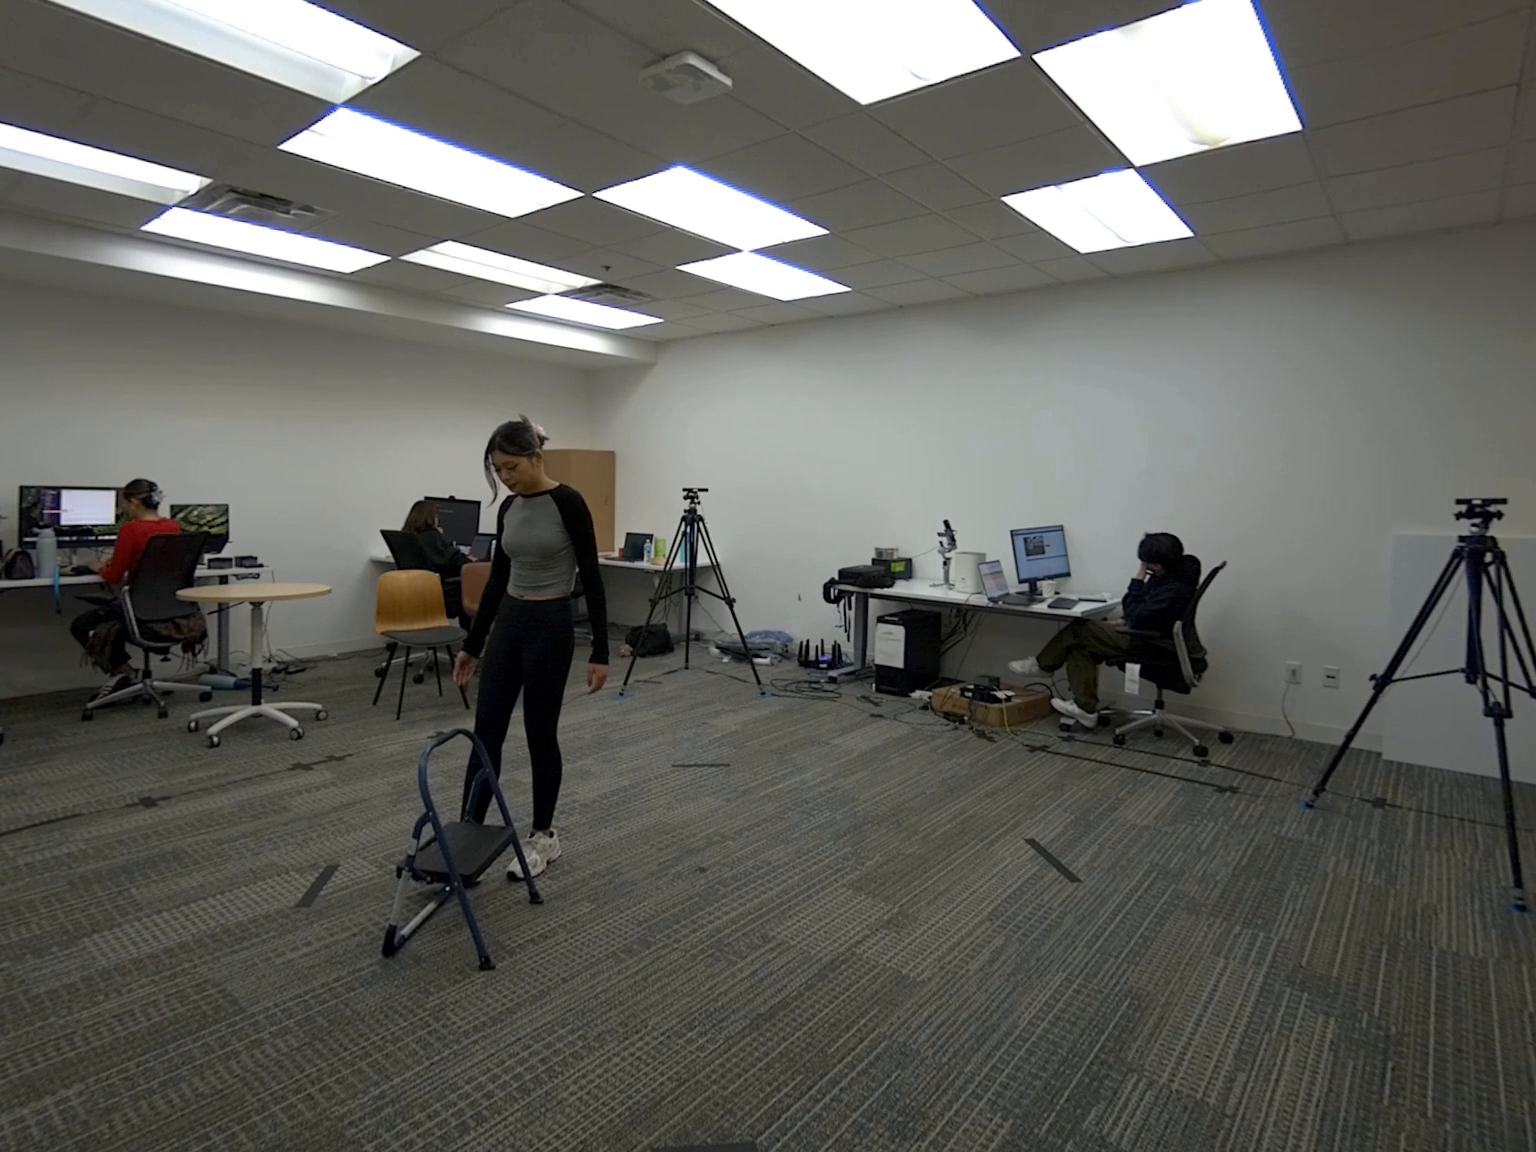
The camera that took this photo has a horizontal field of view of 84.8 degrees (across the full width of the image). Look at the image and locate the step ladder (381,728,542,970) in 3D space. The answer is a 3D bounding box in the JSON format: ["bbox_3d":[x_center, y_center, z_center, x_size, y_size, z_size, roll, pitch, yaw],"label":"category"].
[{"bbox_3d":[-0.949,0.802,2.658,0.352,0.604,0.429,2,4,6],"label":"step ladder"}]
